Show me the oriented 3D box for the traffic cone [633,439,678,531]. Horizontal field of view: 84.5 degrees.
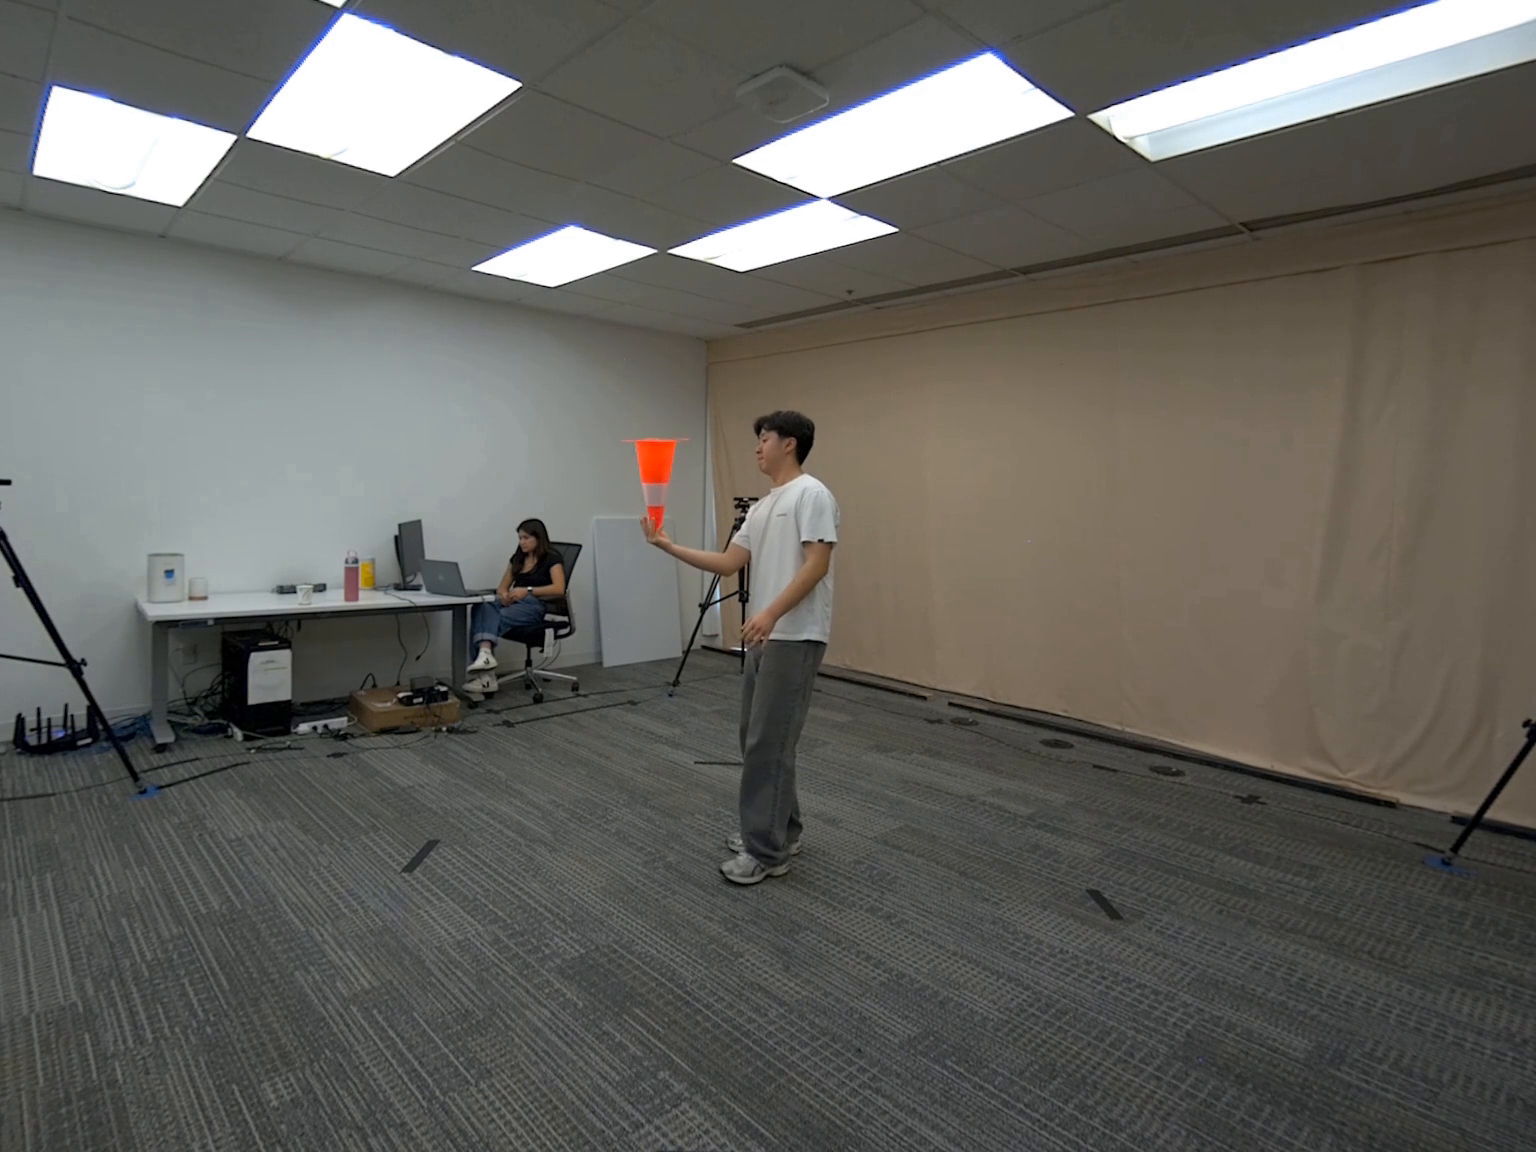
[{"bbox_3d":[-0.457,-0.335,3.294,0.208,0.381,0.201,5,9,18],"label":"traffic cone"}]
